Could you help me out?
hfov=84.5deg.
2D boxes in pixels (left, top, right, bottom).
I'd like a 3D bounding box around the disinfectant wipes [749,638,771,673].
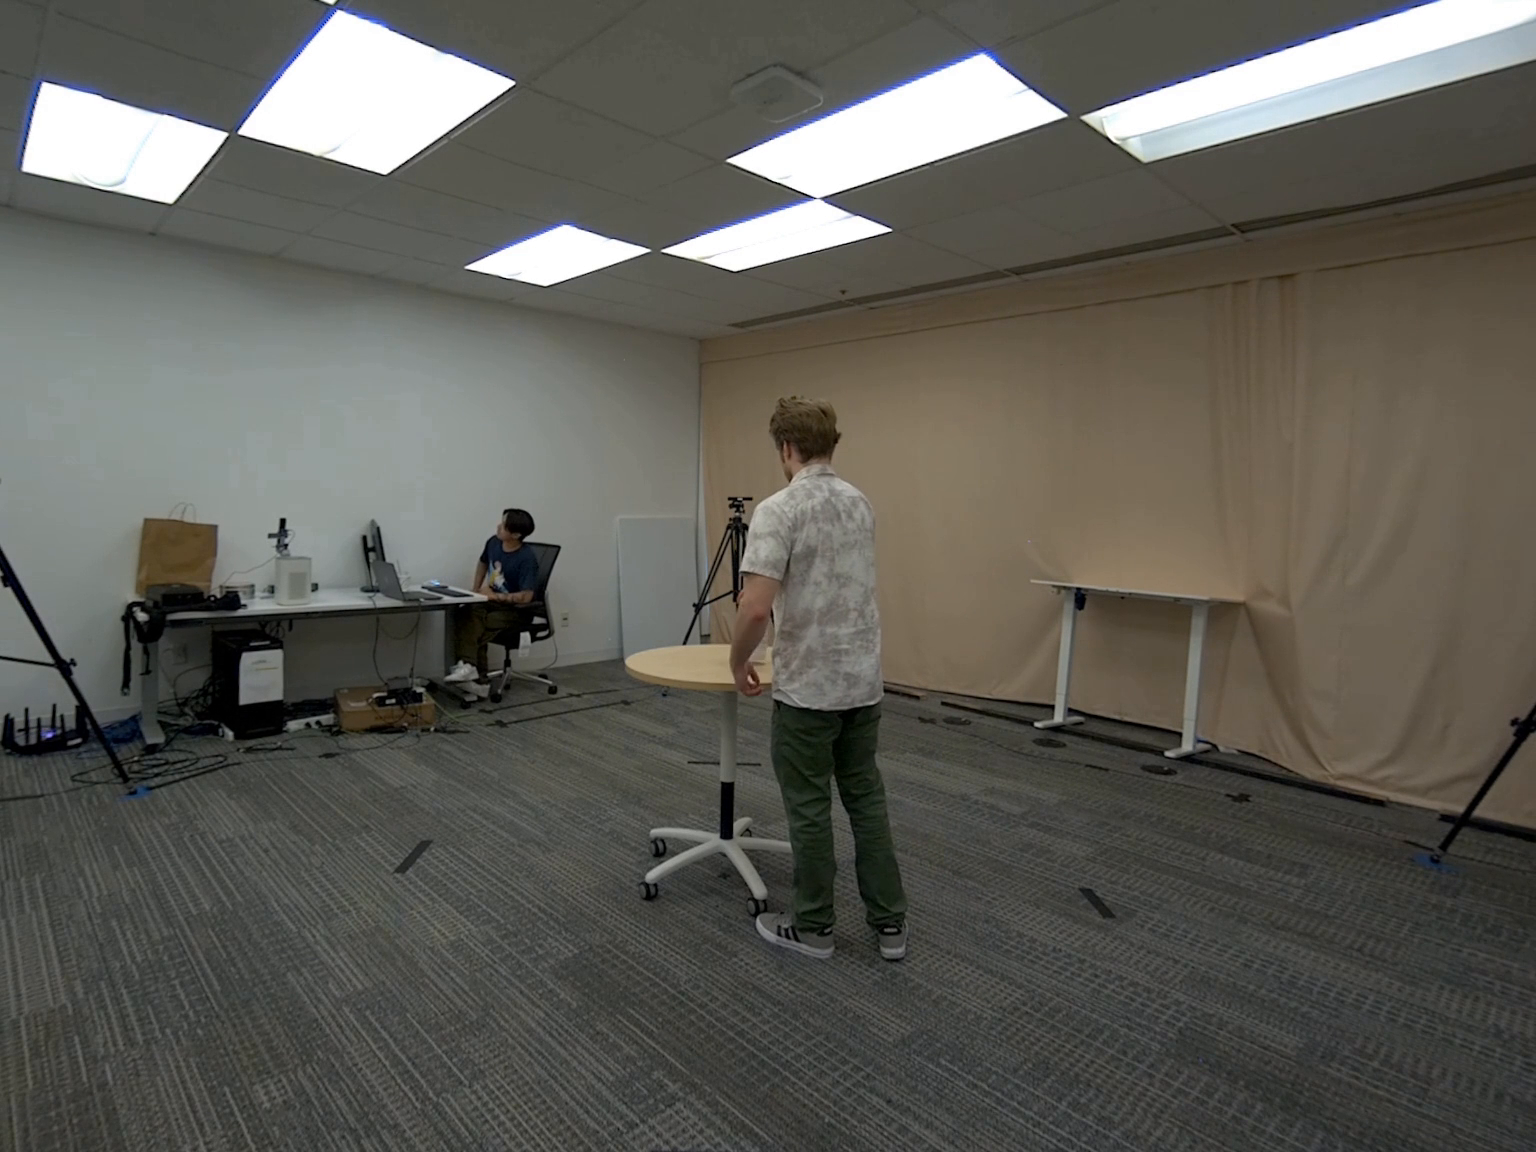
[{"bbox_3d":[-0.052,0.196,3.041,0.118,0.217,0.118,3,2,-1],"label":"disinfectant wipes"}]
